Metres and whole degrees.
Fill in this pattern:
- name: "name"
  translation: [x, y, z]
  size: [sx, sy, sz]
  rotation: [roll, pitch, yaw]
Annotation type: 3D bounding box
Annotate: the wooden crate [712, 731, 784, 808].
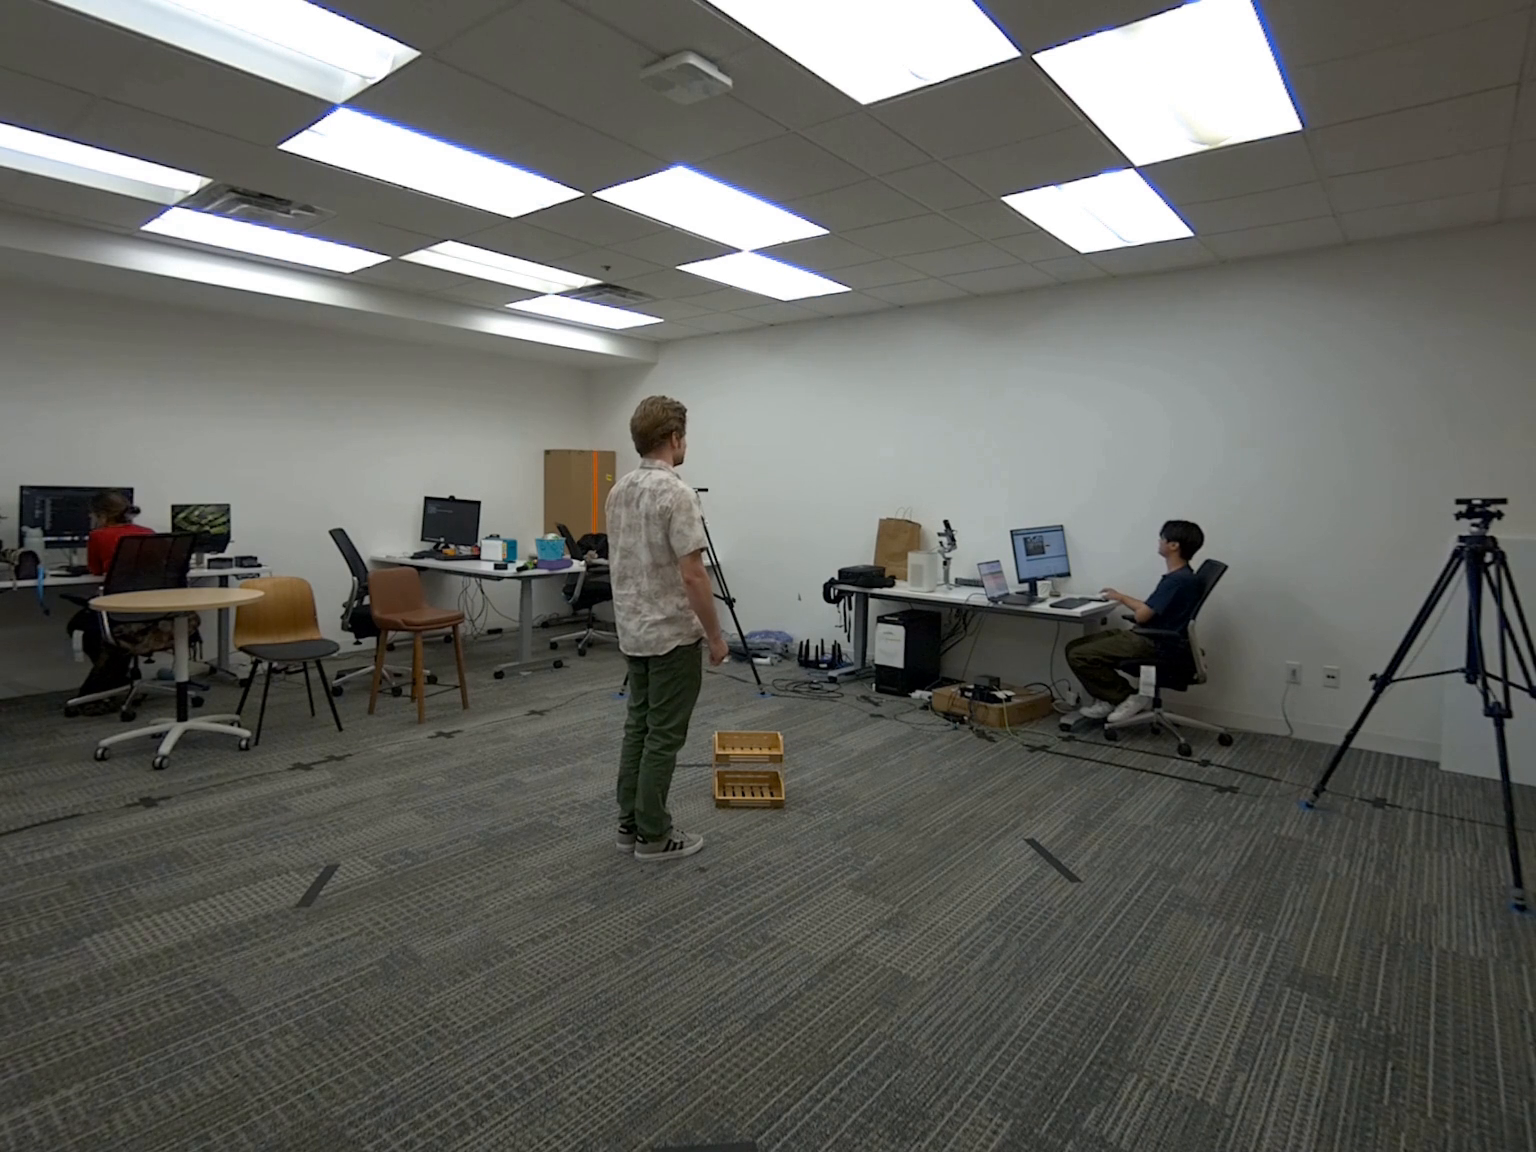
- name: "wooden crate"
  translation: [-0.095, 0.866, 3.852]
  size: [0.323, 0.272, 0.304]
  rotation: [1, 4, -4]
